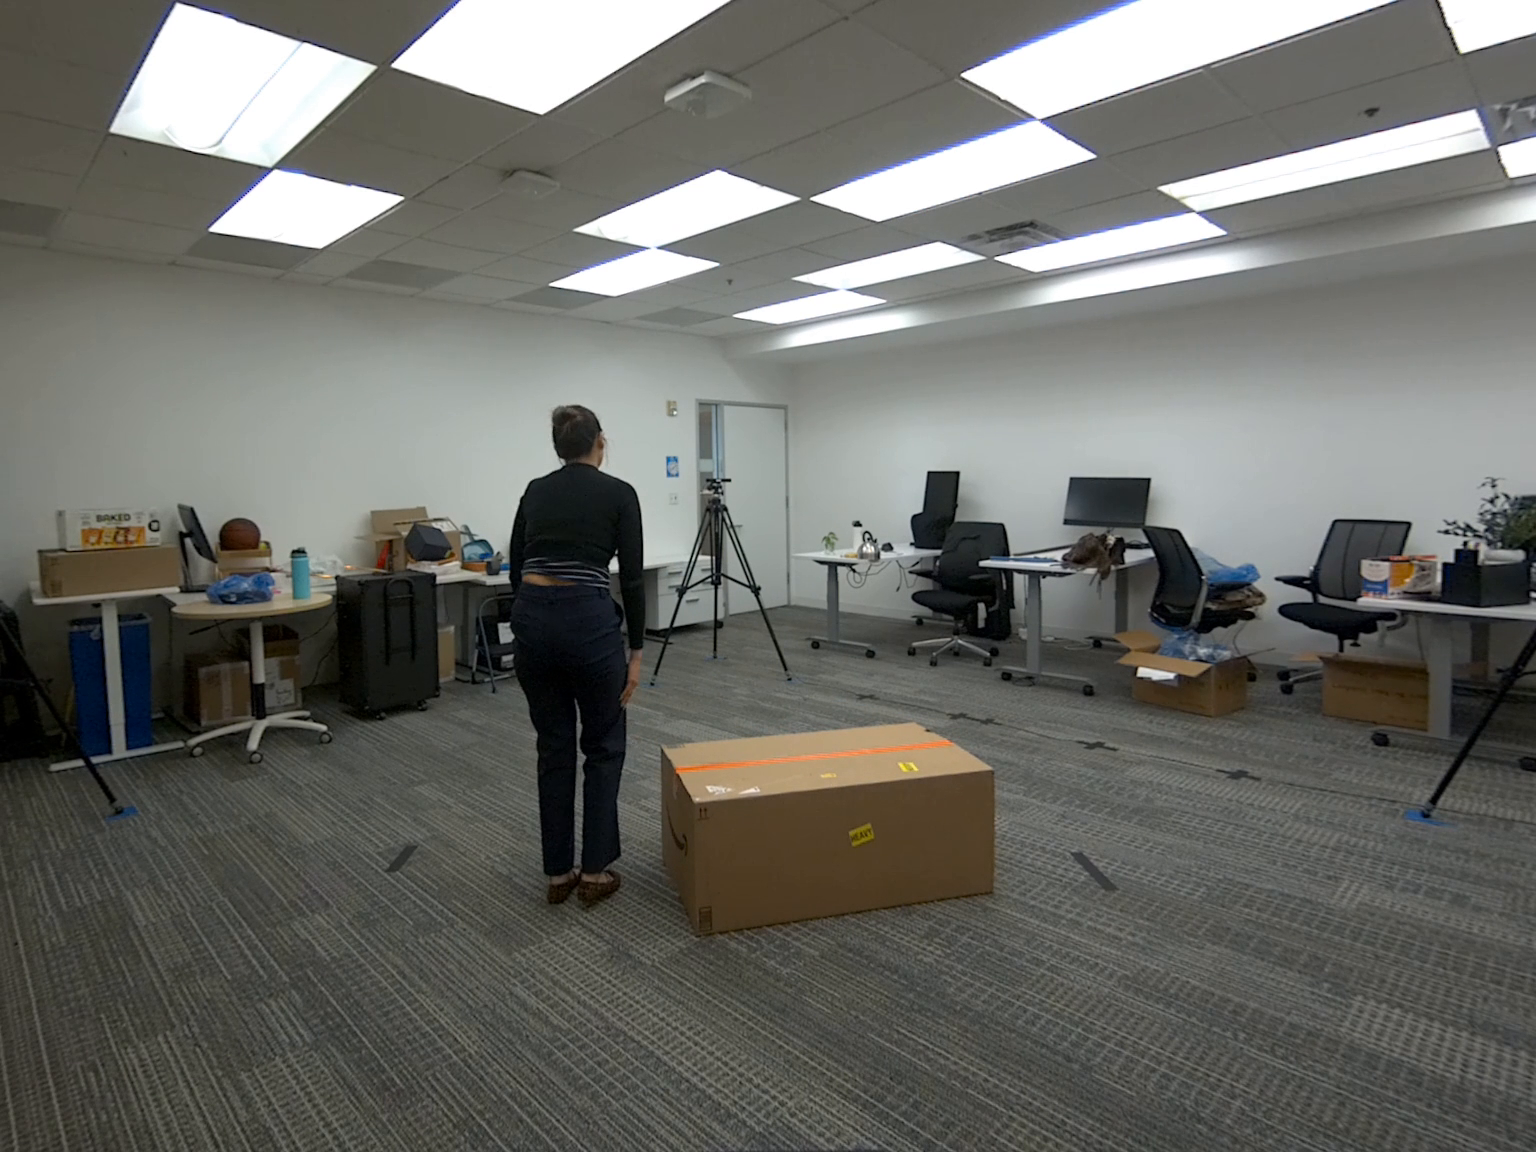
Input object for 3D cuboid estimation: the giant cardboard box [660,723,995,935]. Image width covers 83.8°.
[{"bbox_3d":[0.179,0.835,2.995,1.012,0.424,0.588,-3,7,-15],"label":"giant cardboard box"}]
